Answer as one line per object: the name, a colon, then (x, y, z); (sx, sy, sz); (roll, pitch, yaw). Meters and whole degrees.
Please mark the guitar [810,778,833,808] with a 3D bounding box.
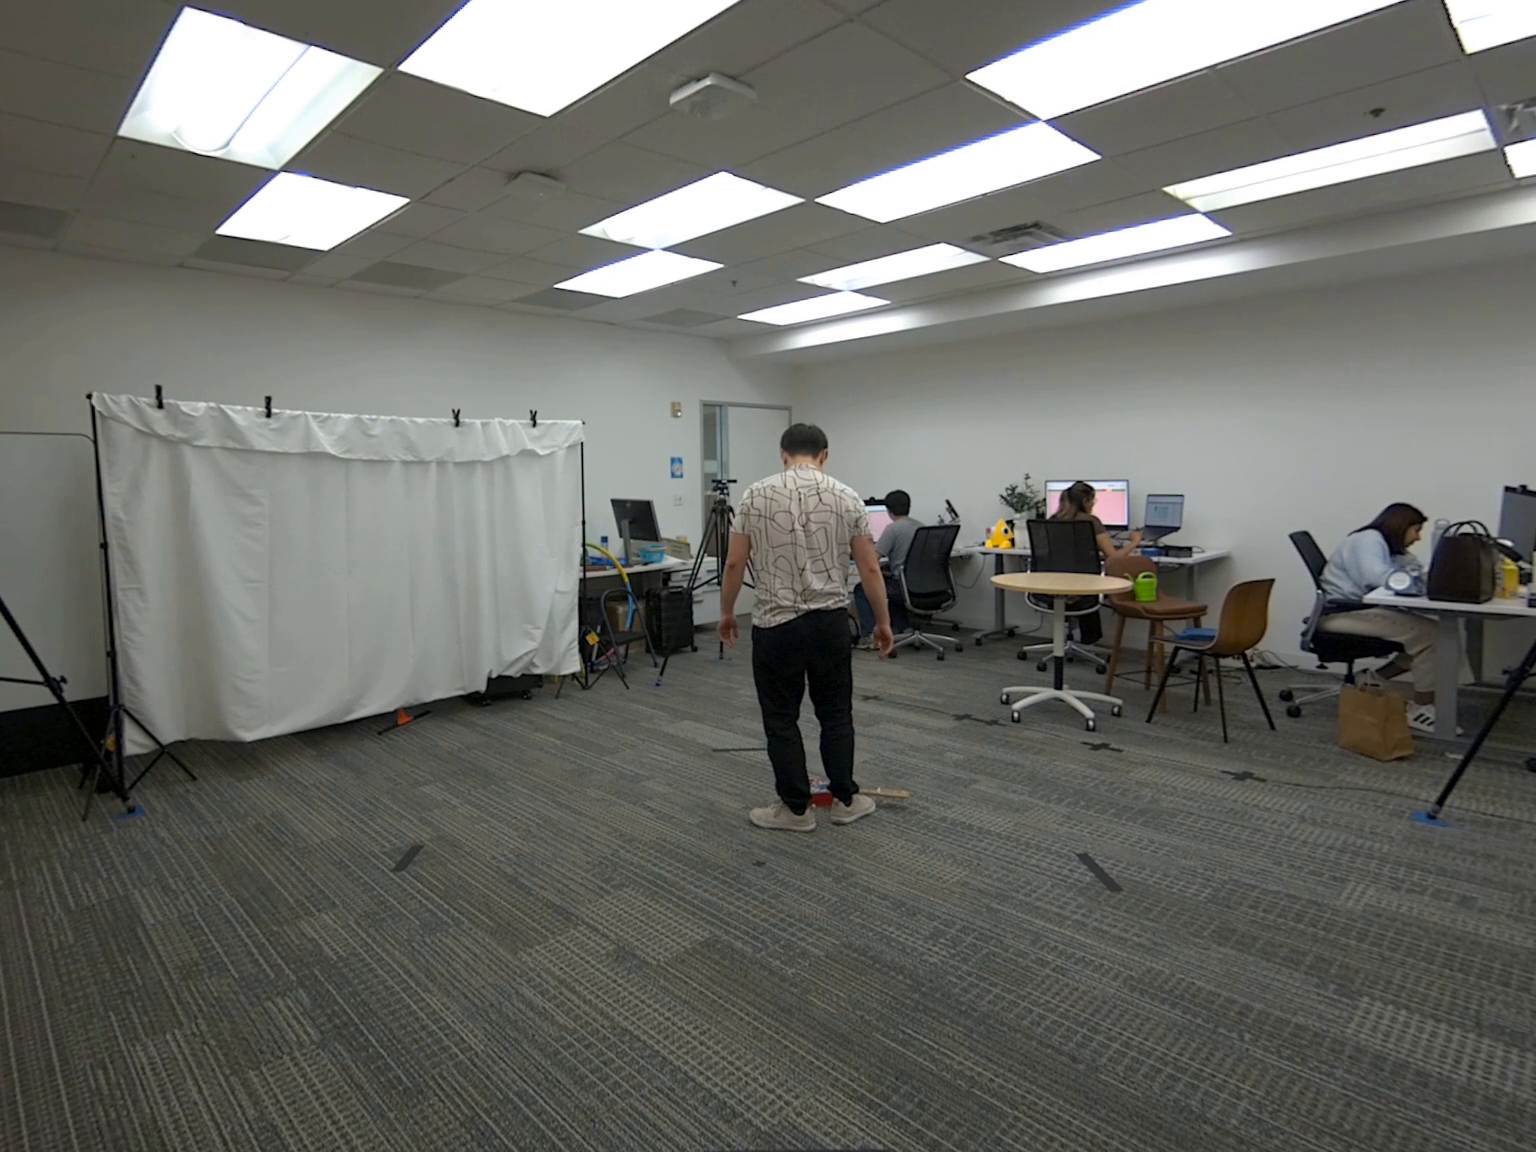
guitar: (0.353, 0.945, 3.655); (0.509, 0.070, 0.189); (2, 5, 26)
